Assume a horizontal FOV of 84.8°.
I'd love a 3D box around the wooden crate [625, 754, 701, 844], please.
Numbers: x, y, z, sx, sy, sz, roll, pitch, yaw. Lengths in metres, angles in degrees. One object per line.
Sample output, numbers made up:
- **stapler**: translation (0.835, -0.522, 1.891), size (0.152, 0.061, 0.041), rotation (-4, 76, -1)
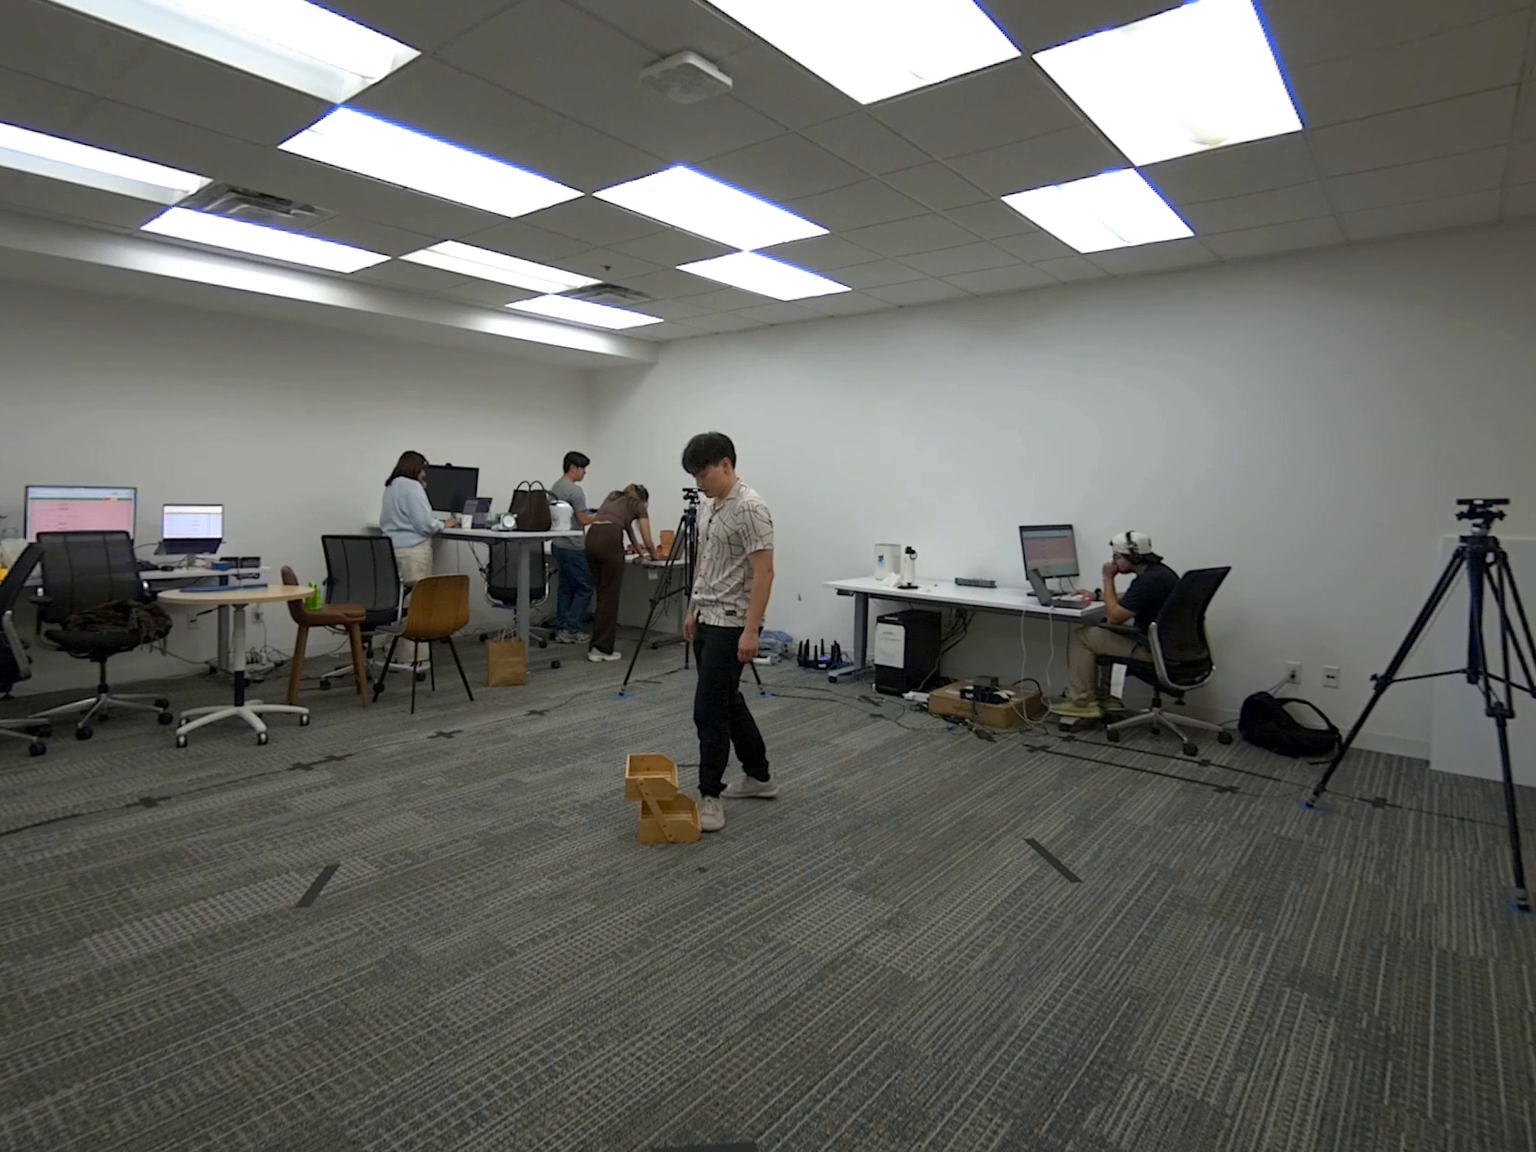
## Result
- **wooden crate**: translation (-0.437, 0.897, 3.486), size (0.300, 0.272, 0.328), rotation (1, 4, -7)
